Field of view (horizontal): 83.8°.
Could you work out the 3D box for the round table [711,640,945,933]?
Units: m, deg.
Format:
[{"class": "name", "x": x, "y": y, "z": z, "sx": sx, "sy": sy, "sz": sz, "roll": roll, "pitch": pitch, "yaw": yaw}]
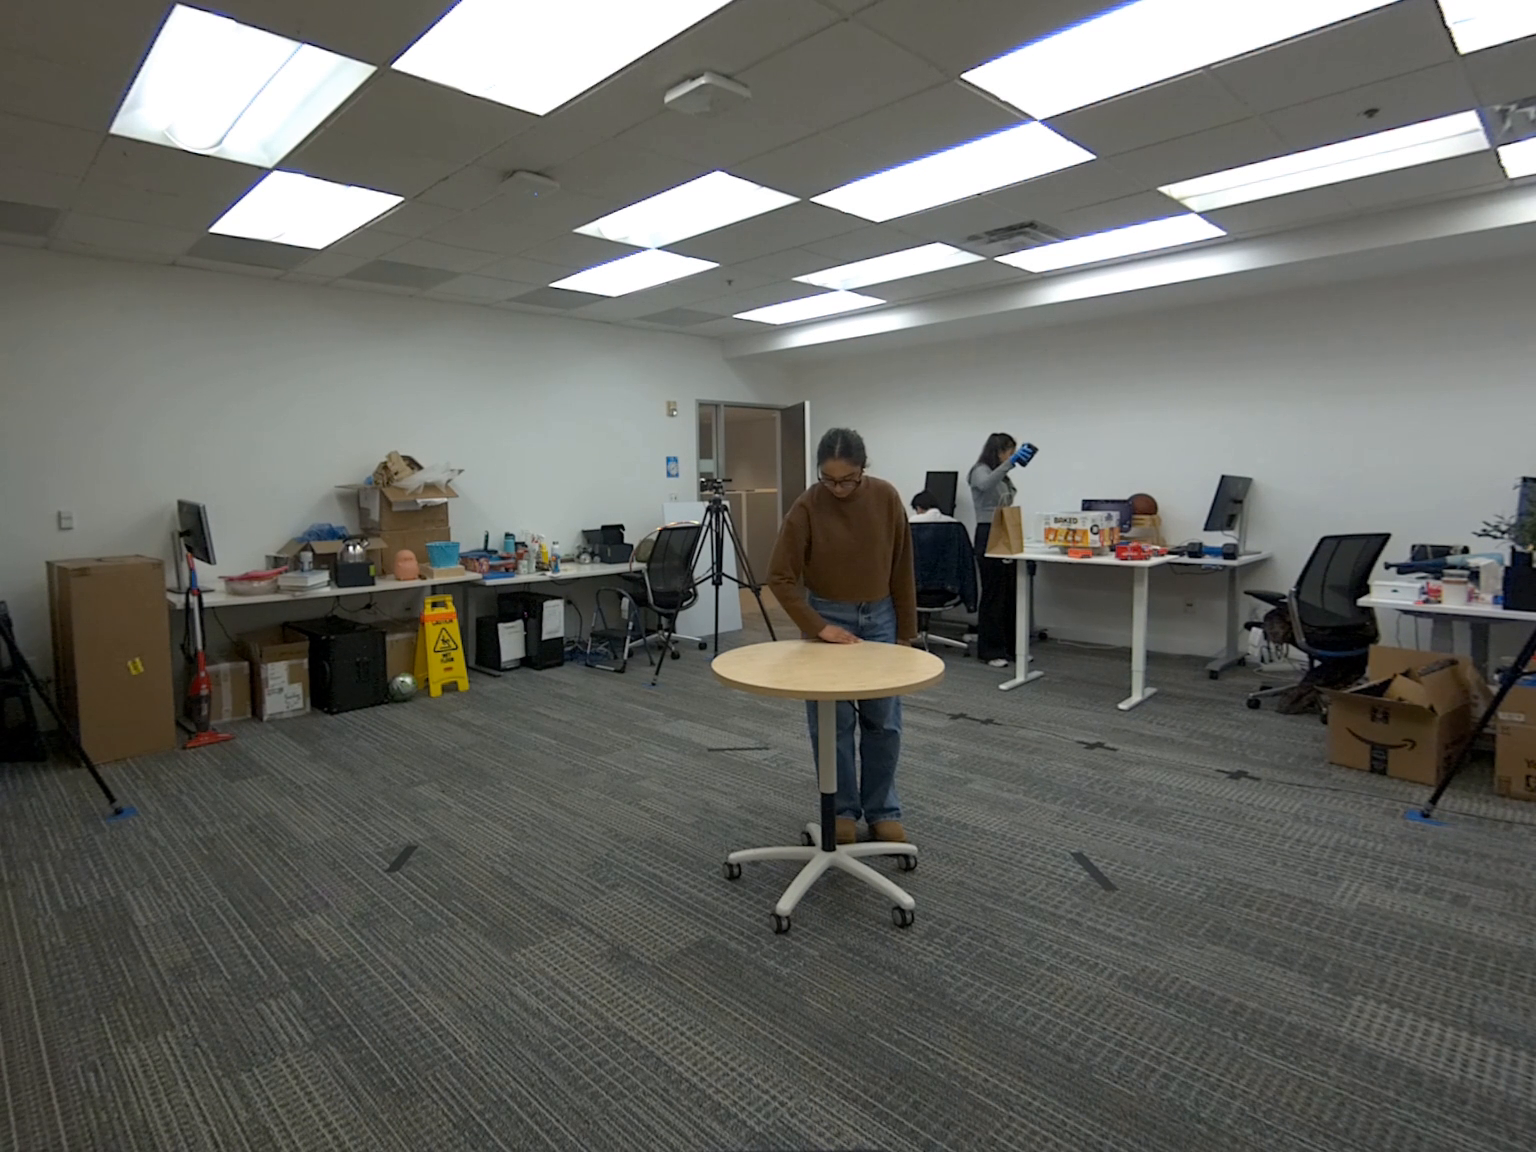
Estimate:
[{"class": "round table", "x": 0.204, "y": 0.682, "z": 2.870, "sx": 0.763, "sy": 0.791, "sz": 0.768, "roll": -1, "pitch": 5, "yaw": -2}]
